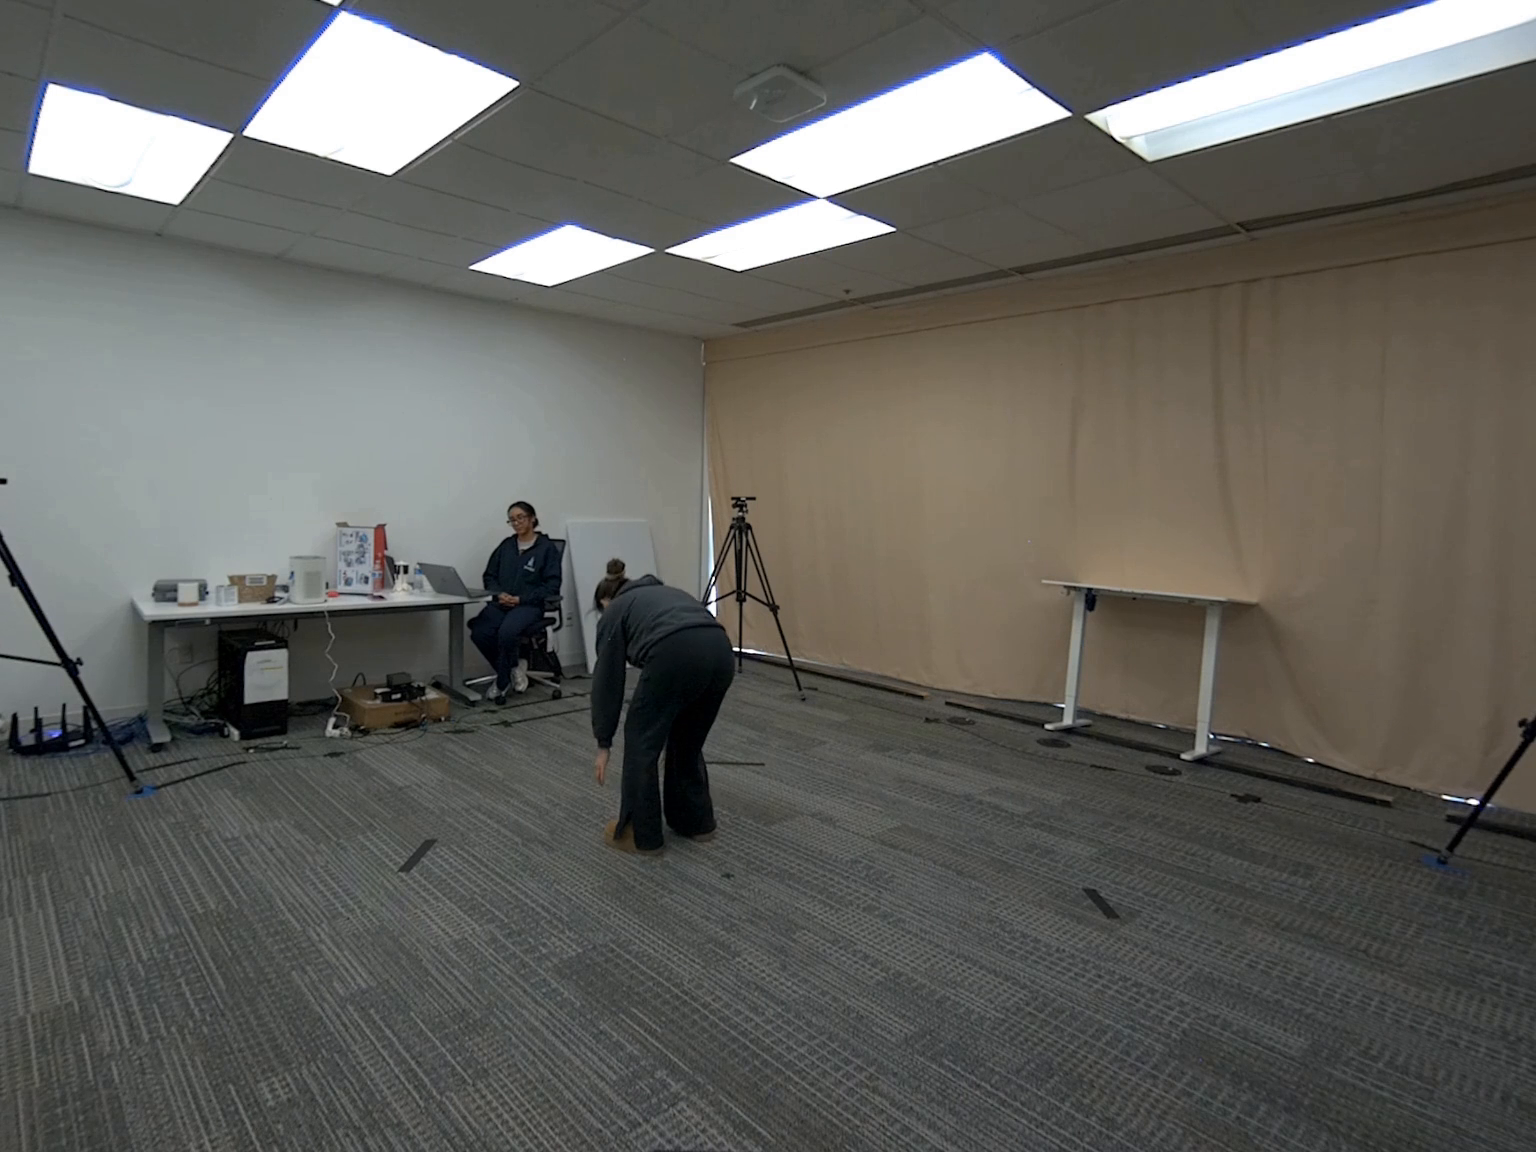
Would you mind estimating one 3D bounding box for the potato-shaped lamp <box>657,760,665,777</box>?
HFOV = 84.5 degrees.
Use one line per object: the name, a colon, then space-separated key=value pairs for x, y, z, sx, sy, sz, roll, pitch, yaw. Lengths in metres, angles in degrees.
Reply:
potato-shaped lamp: x=-0.560 y=0.952 z=3.597 sx=0.161 sy=0.198 sz=0.176 roll=-2 pitch=5 yaw=-45
